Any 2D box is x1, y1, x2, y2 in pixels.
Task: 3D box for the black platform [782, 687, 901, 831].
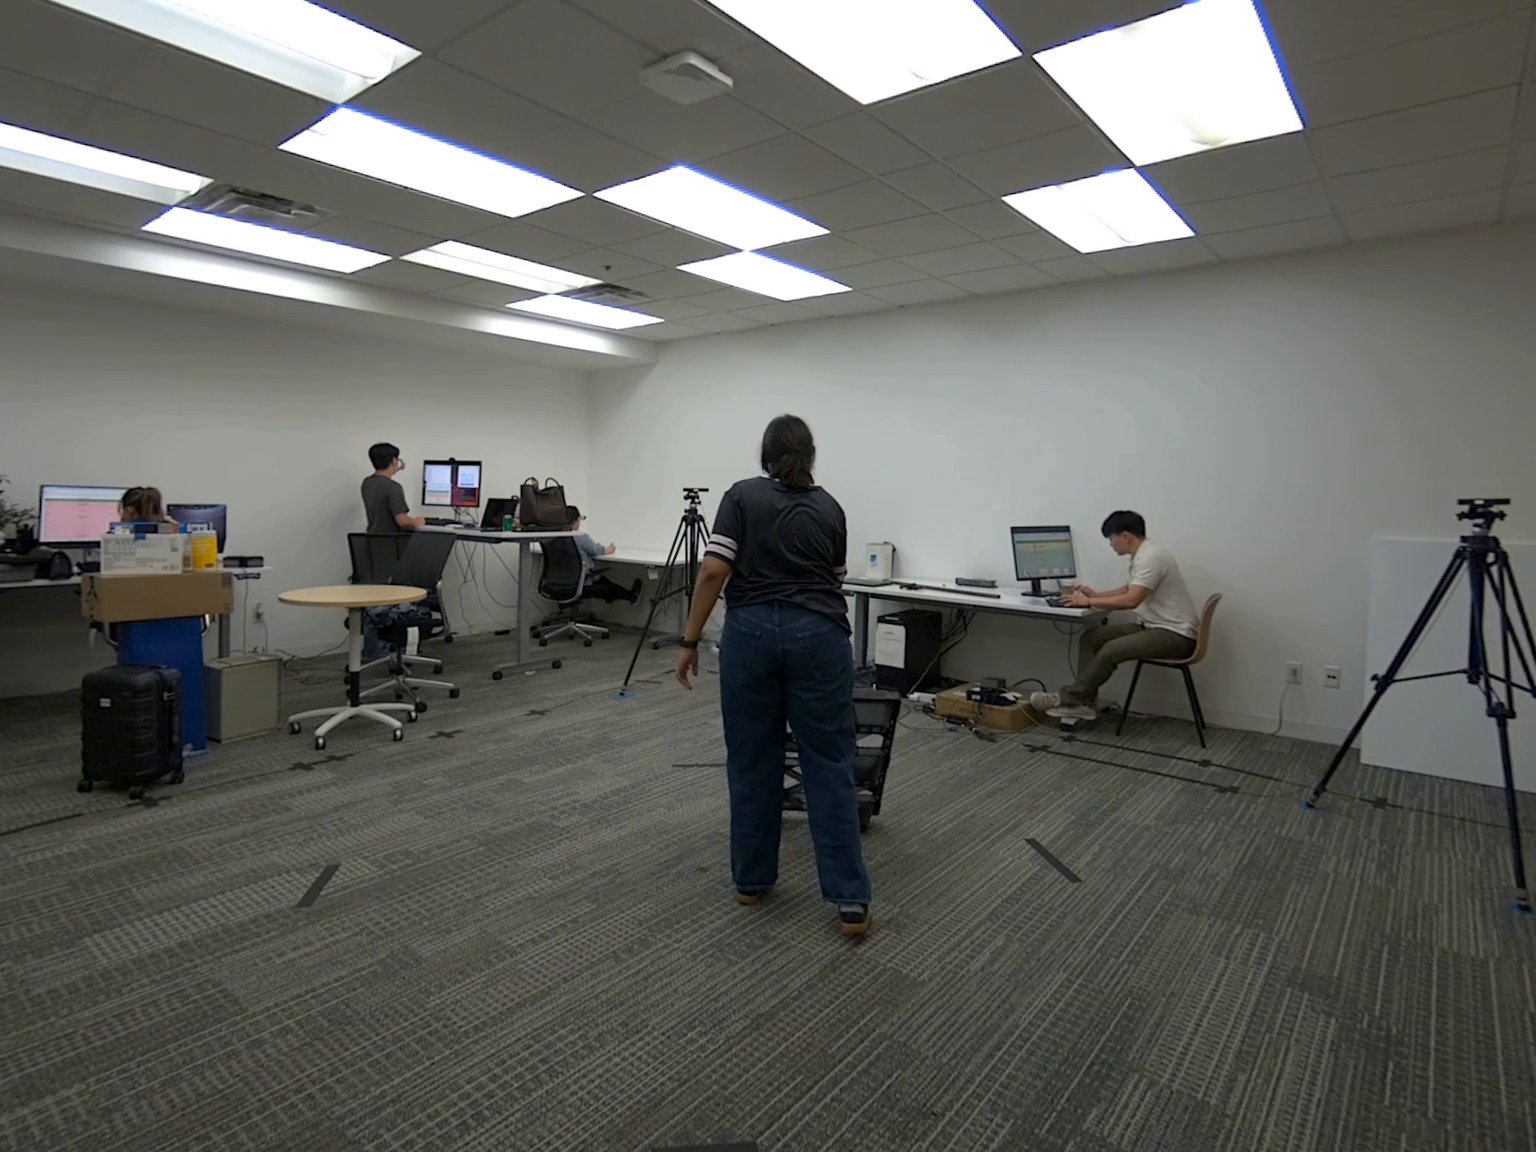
[{"bbox_3d":[0.175,0.733,3.306,0.607,0.783,0.147,4,42,3],"label":"black platform"}]
